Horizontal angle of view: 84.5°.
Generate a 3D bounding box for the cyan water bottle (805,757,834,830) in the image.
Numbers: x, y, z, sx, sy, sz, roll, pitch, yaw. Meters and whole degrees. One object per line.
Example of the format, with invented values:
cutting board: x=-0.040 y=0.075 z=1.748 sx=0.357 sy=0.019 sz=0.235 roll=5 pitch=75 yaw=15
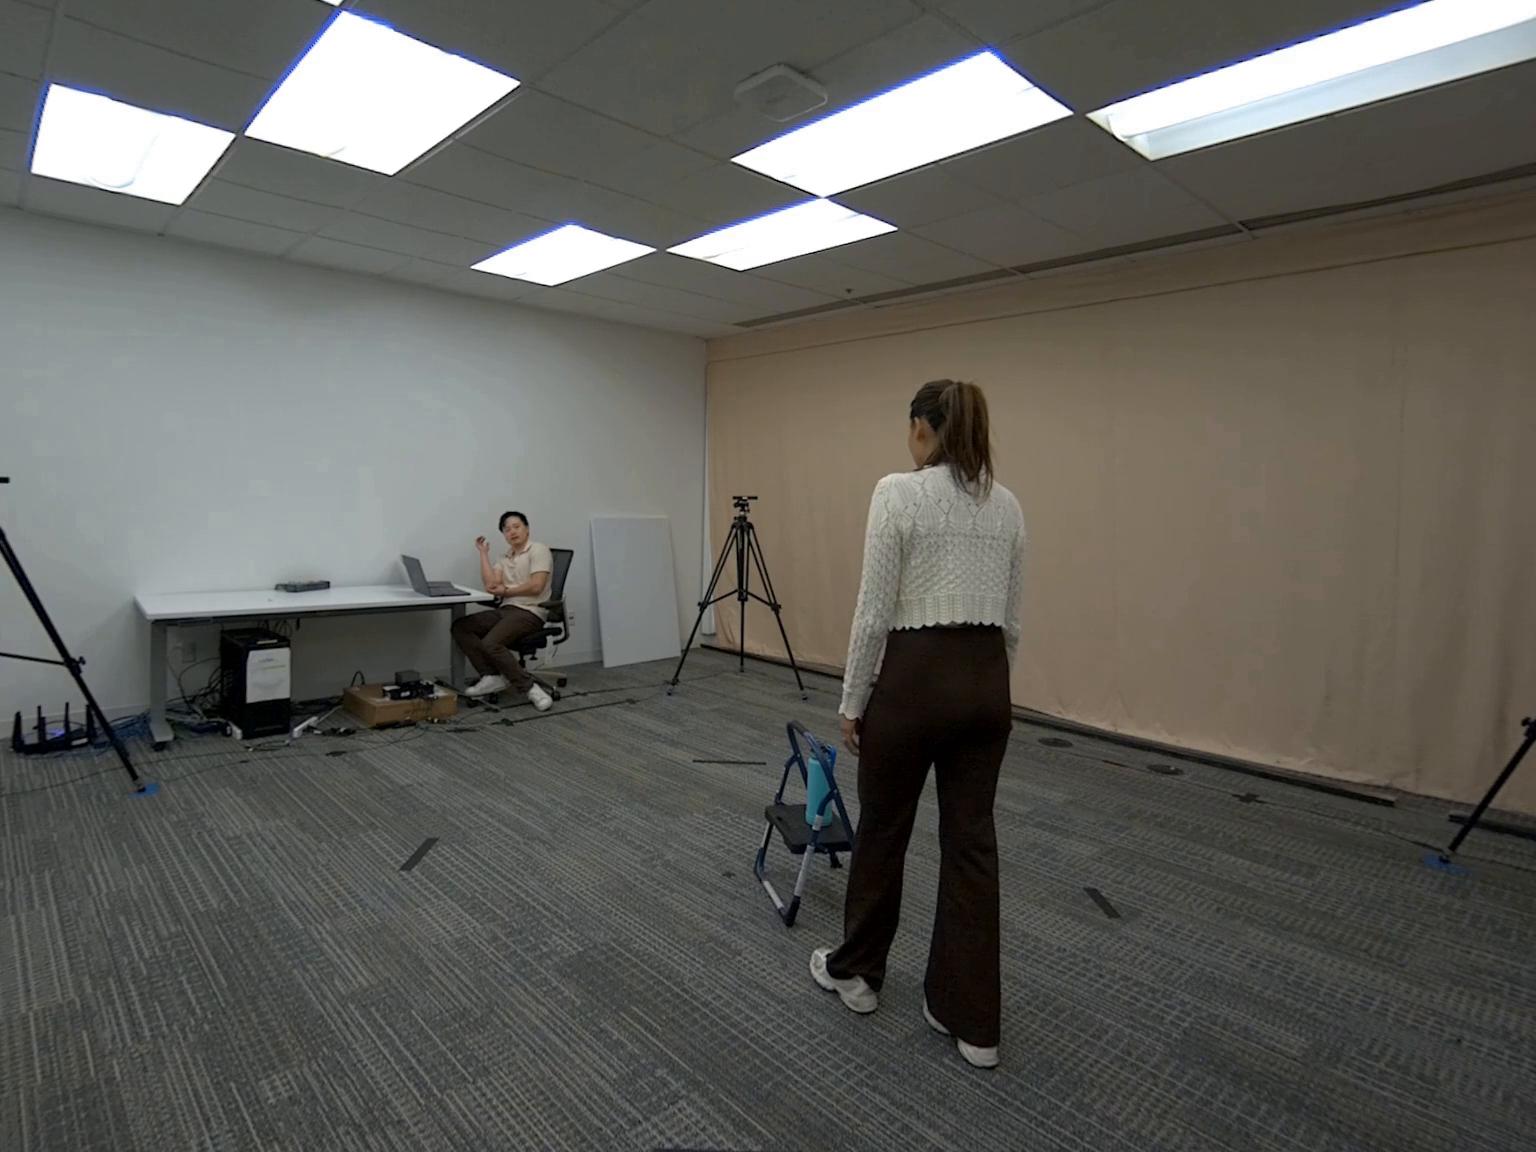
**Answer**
cyan water bottle: x=0.178 y=0.721 z=2.937 sx=0.092 sy=0.282 sz=0.092 roll=4 pitch=4 yaw=-2
